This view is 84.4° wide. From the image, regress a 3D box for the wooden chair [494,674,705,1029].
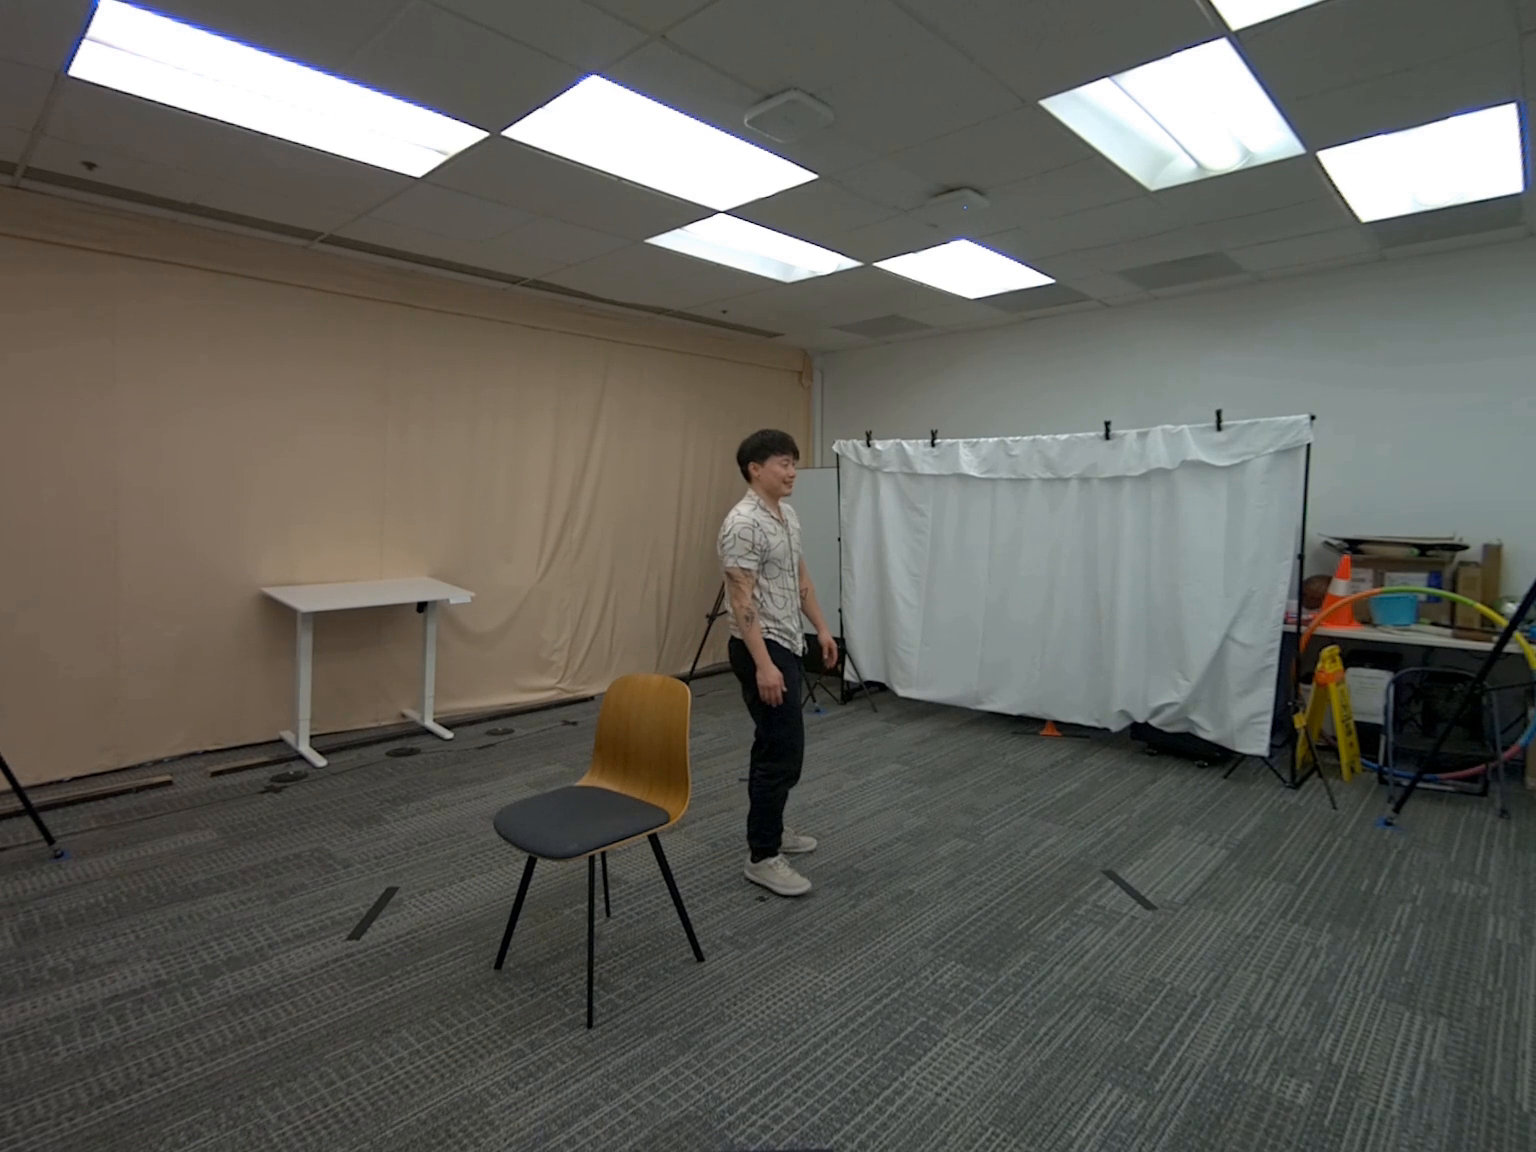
[{"bbox_3d":[-0.511,0.758,2.522,0.494,0.877,0.506,3,0,40],"label":"wooden chair"}]
